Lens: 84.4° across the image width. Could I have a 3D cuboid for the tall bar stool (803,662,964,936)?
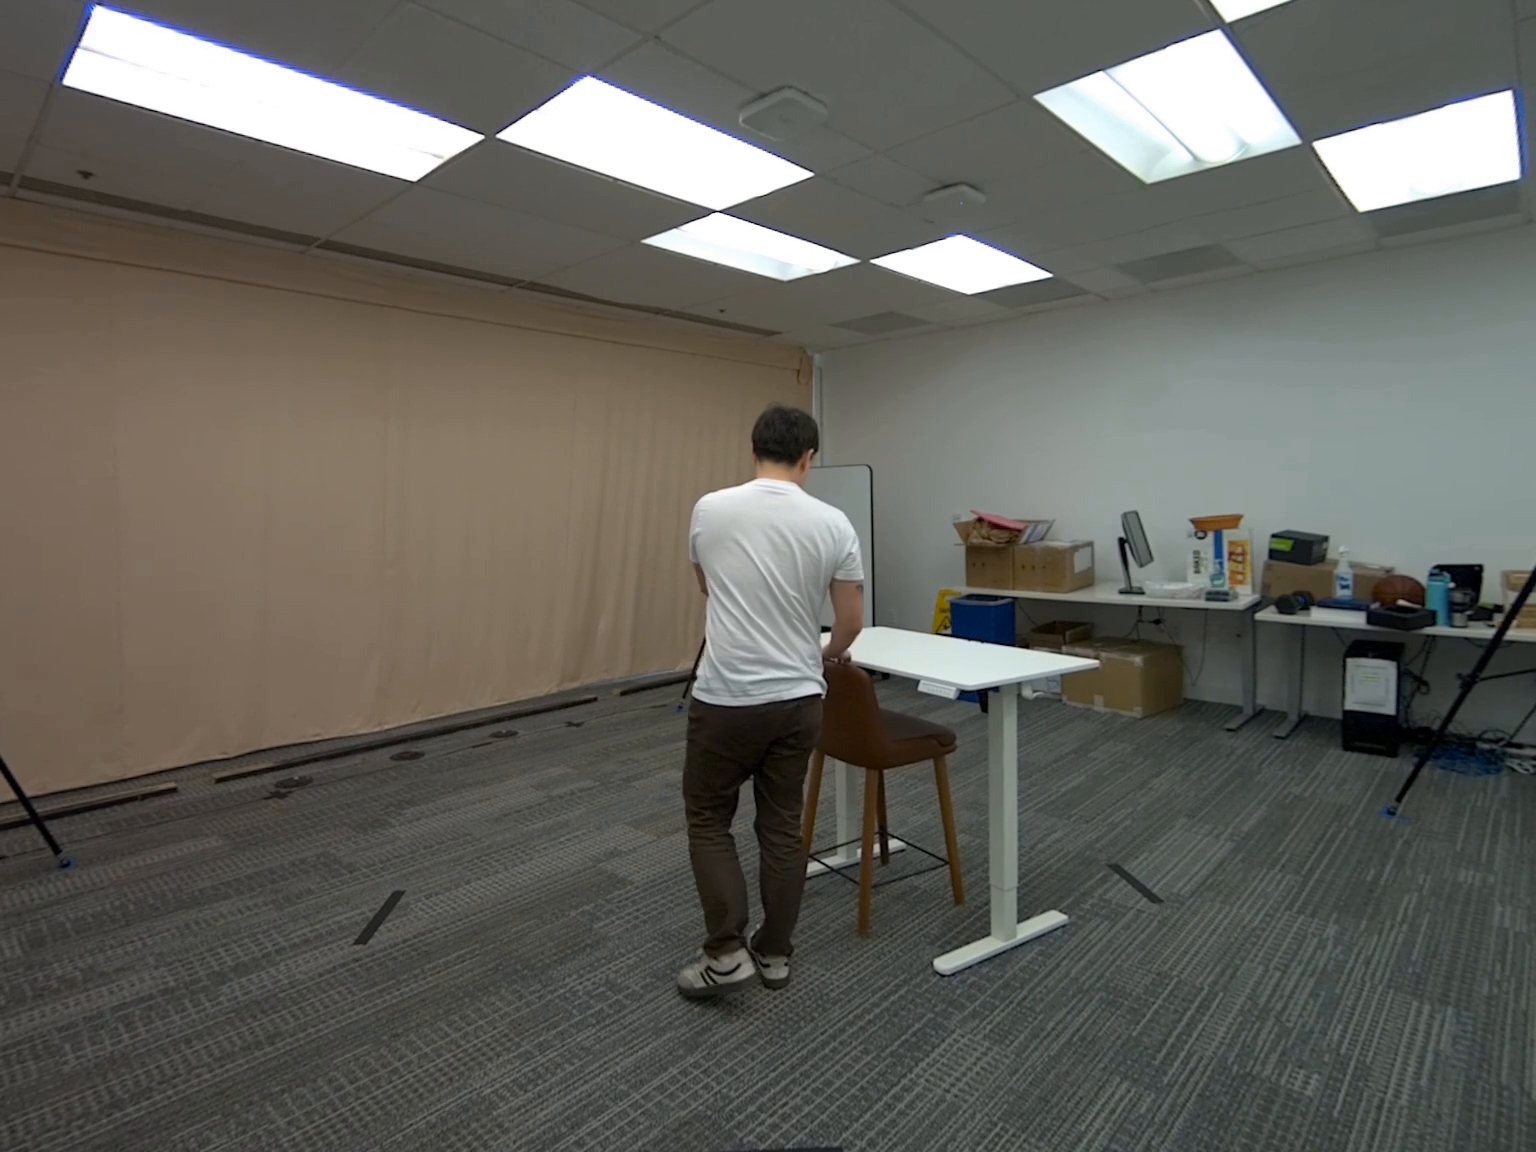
[{"bbox_3d":[0.368,0.704,2.935,0.455,0.887,0.470,-6,5,-31],"label":"tall bar stool"}]
